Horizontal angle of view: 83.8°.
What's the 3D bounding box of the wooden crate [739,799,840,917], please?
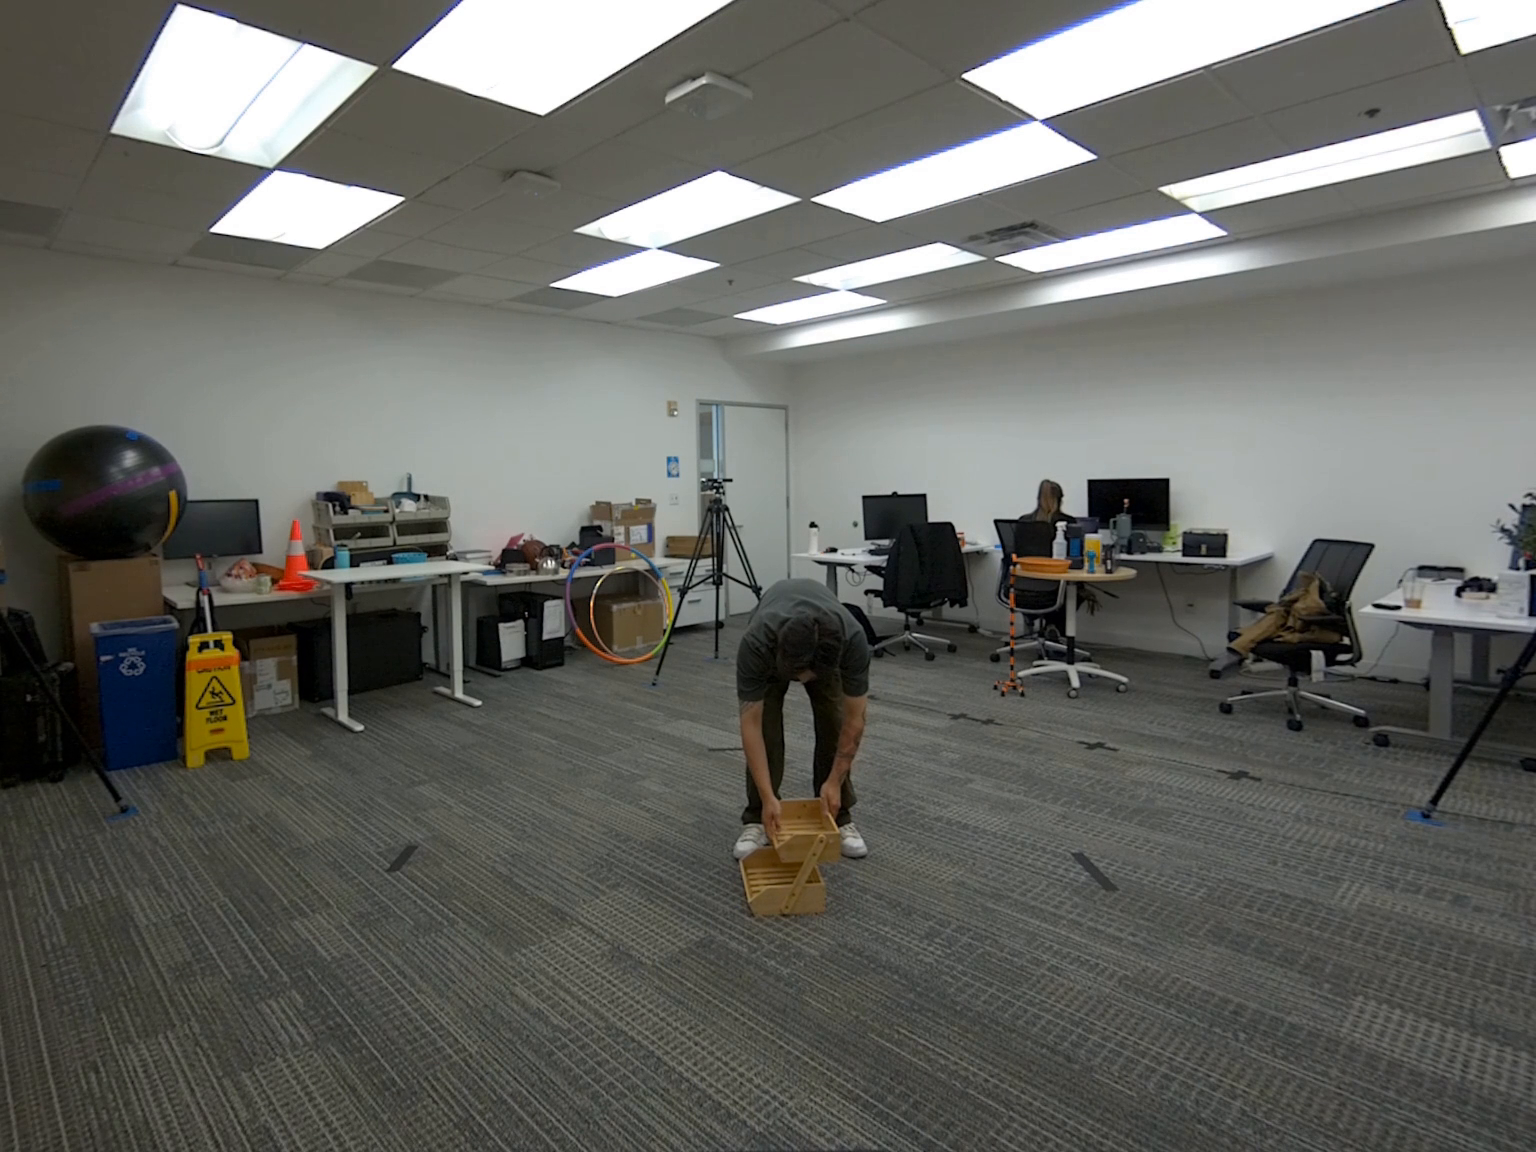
[{"bbox_3d":[0.063,0.930,2.885,0.300,0.272,0.328,-2,5,-7],"label":"wooden crate"}]
